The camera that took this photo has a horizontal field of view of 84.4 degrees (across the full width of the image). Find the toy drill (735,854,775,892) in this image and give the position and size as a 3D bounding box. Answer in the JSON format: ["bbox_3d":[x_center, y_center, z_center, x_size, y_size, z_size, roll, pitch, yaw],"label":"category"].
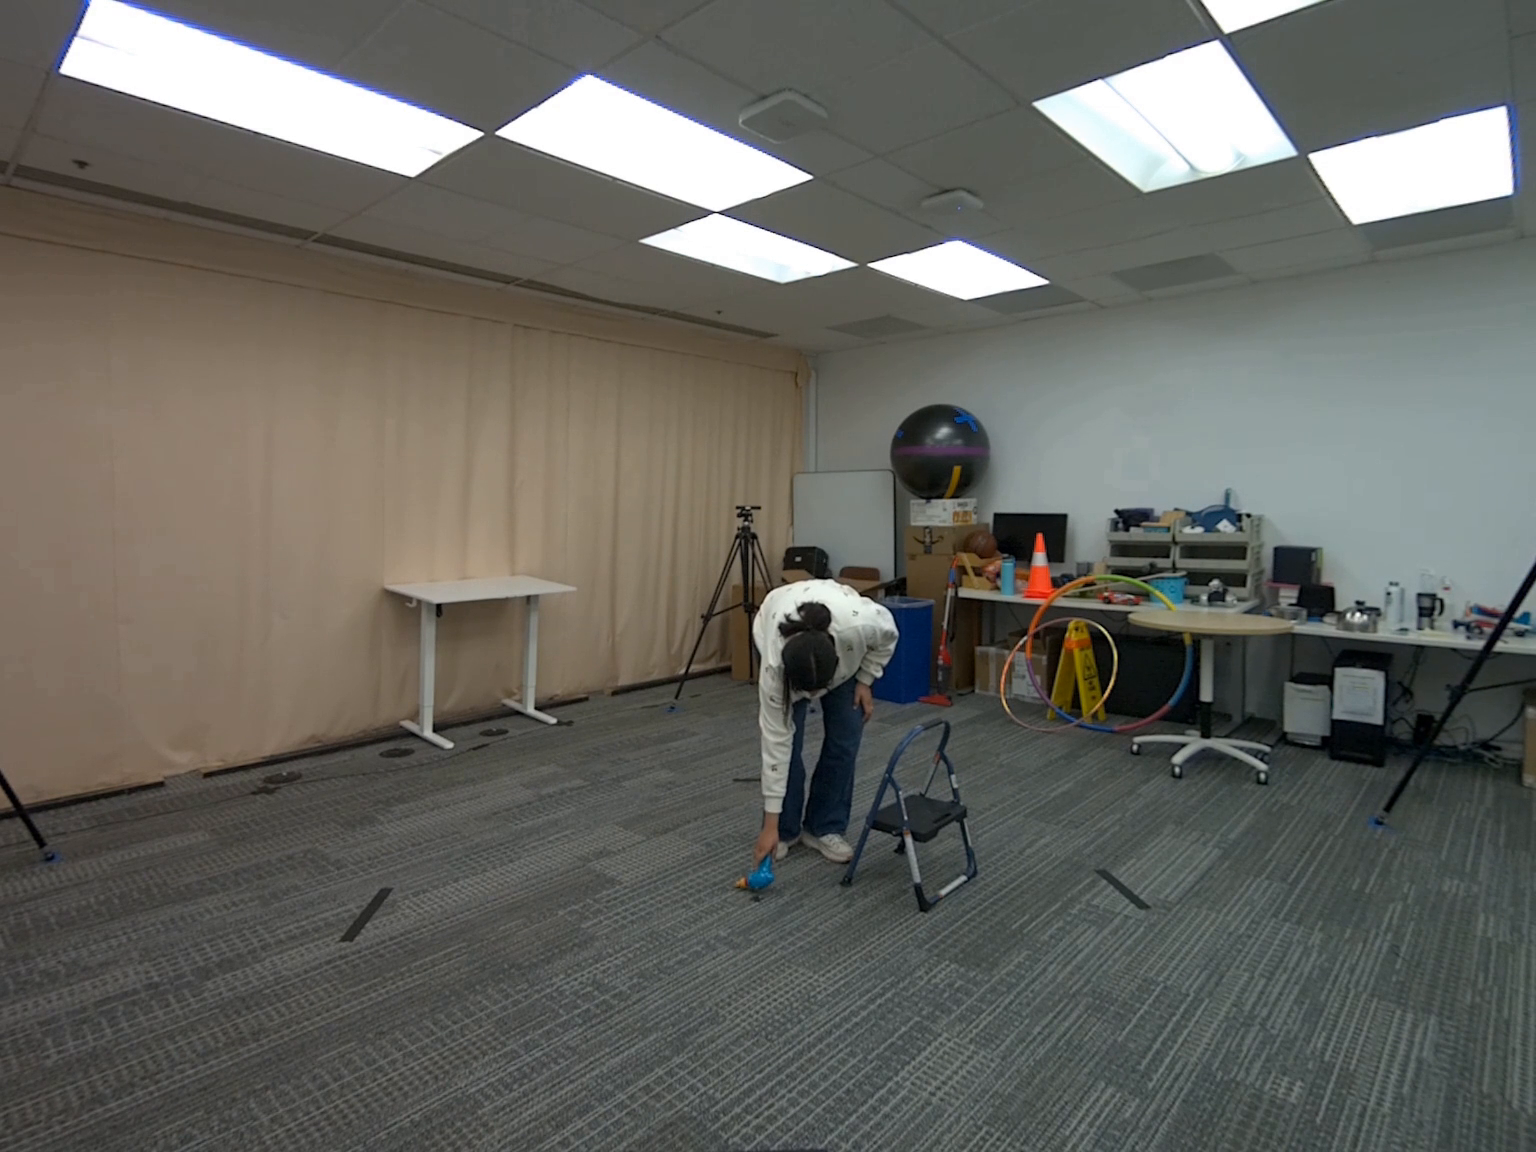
[{"bbox_3d":[-0.051,1.064,3.077,0.172,0.149,0.059,-19,-39,20],"label":"toy drill"}]
